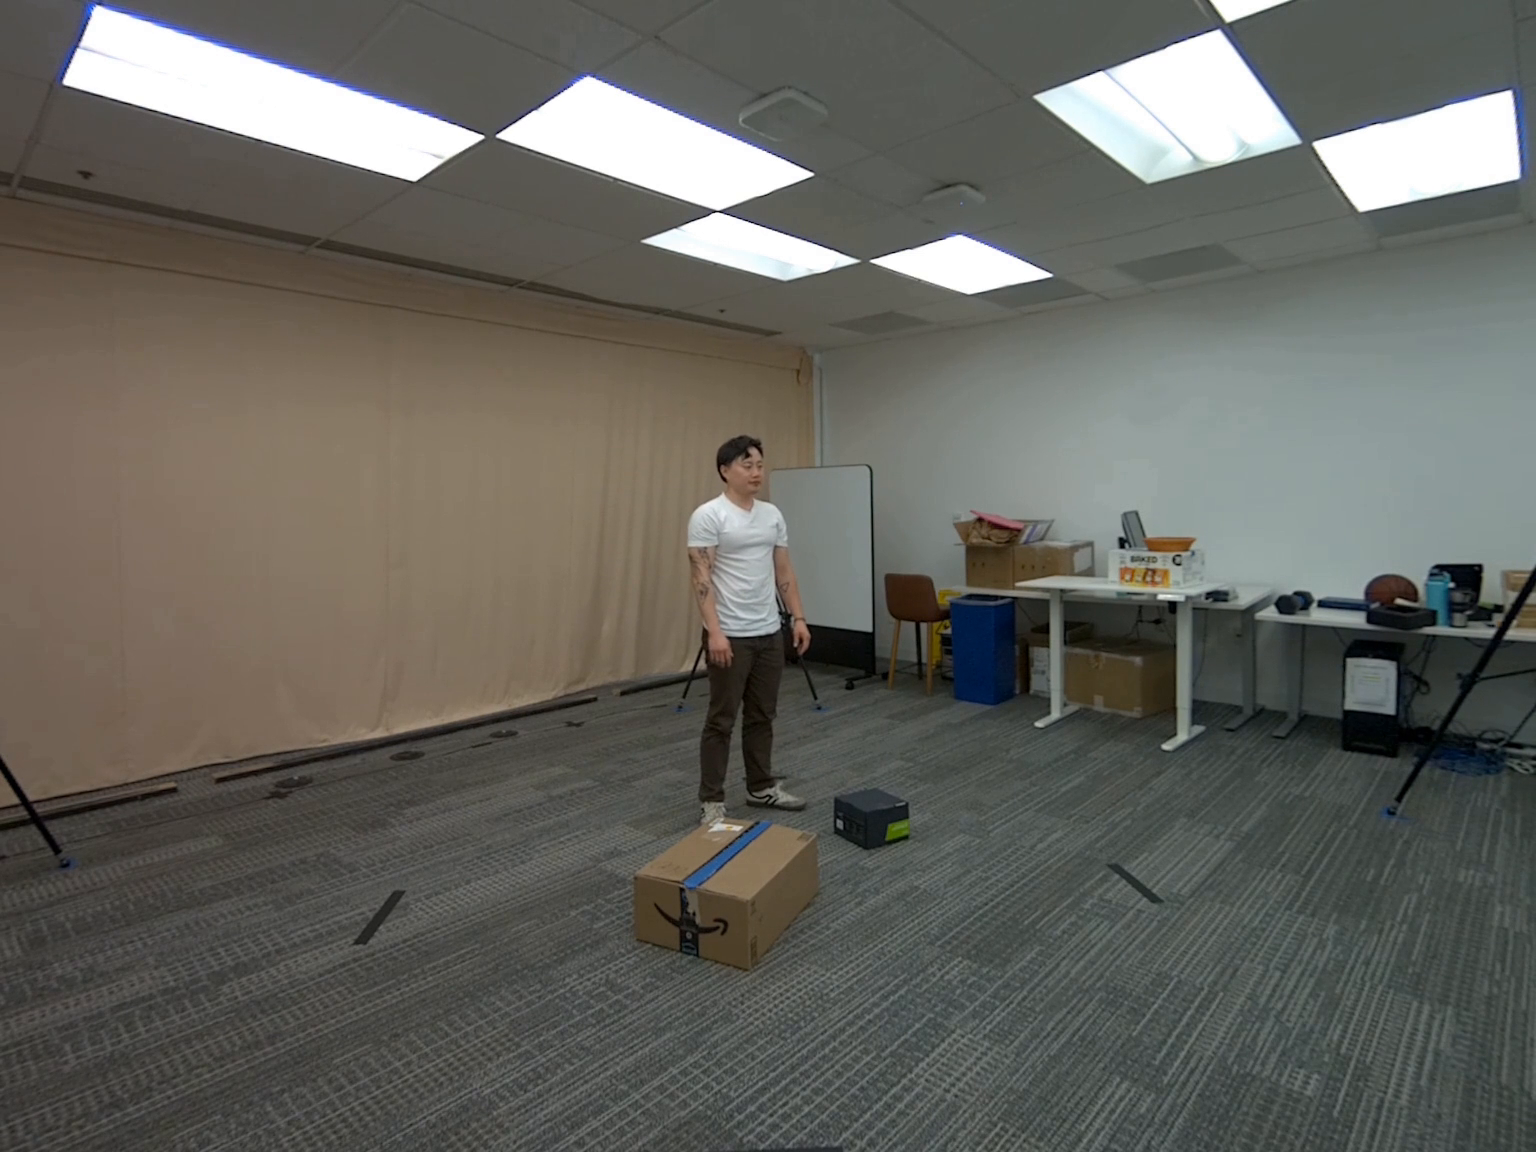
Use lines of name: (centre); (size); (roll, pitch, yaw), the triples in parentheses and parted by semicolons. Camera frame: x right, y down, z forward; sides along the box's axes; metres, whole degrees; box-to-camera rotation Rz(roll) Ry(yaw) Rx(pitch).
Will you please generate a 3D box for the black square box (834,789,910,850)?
black square box: (0.433, 1.002, 3.510); (0.222, 0.155, 0.223); (-3, 4, -31)
